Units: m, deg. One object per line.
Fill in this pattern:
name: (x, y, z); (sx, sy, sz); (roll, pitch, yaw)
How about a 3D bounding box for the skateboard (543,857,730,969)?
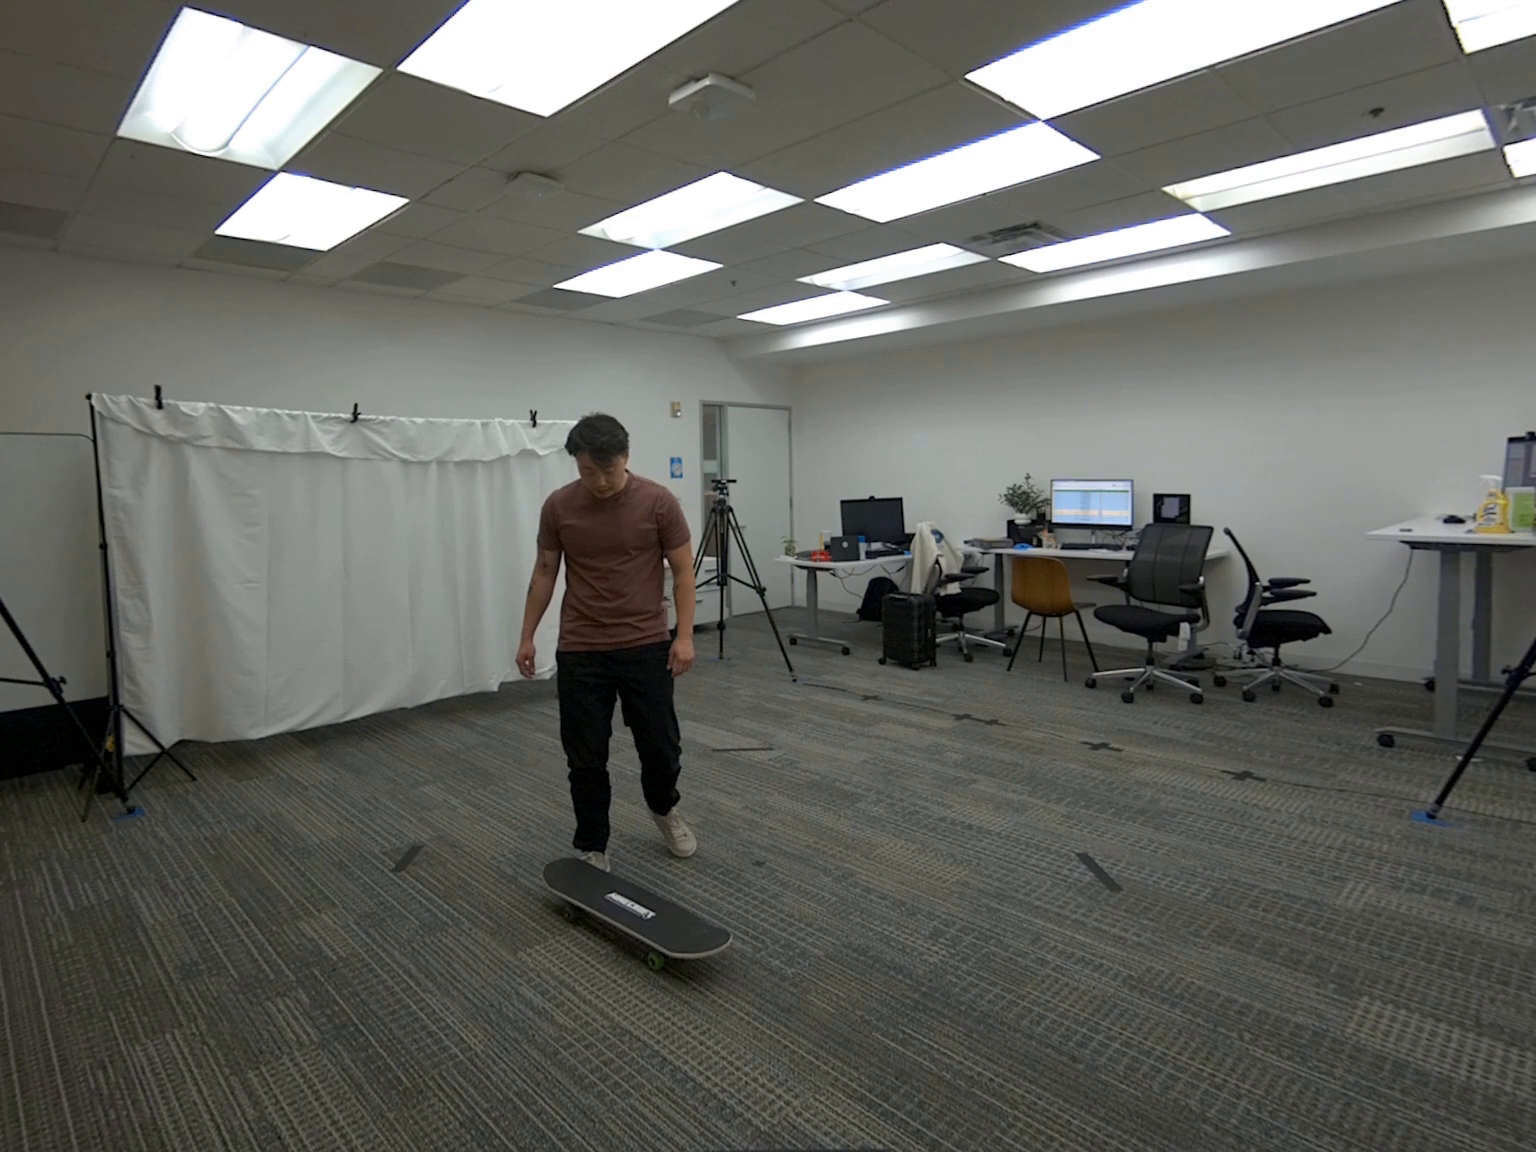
skateboard: (-0.425, 1.057, 2.636); (0.809, 0.110, 0.188); (4, 8, 41)
